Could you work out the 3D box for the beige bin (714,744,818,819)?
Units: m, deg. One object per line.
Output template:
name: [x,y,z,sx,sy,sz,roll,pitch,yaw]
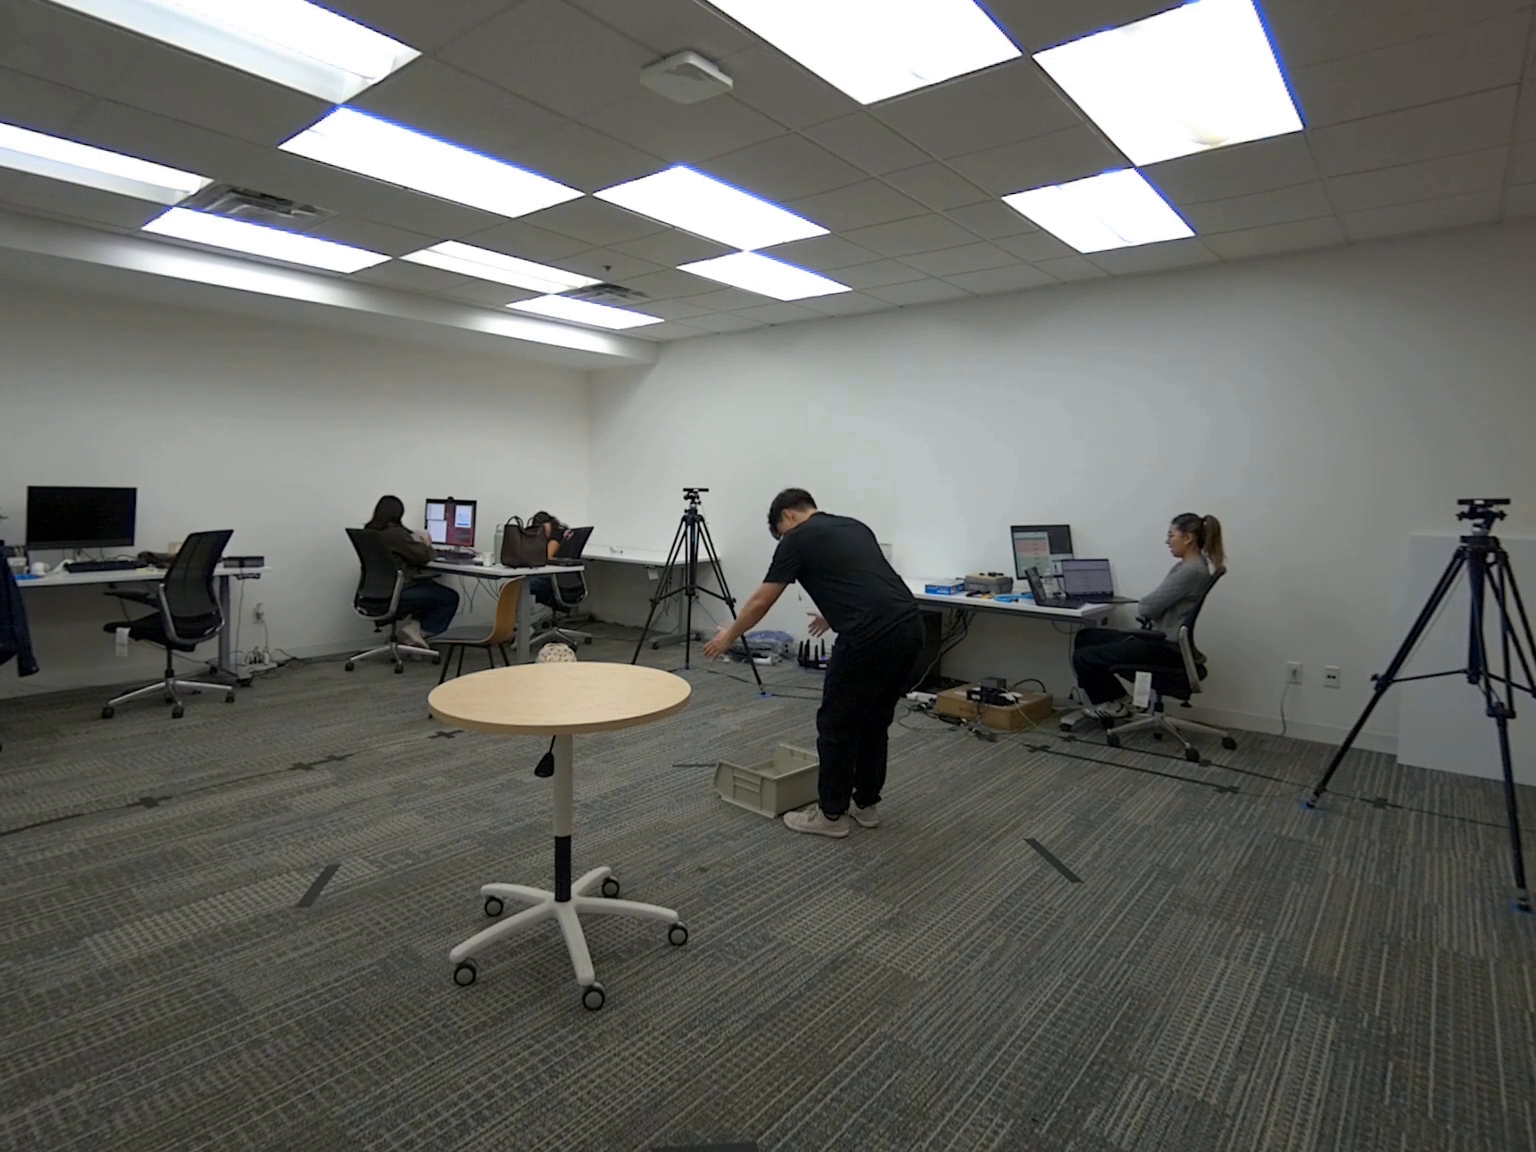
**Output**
beige bin: [0.022,0.912,3.864,0.390,0.188,0.409,7,7,43]
